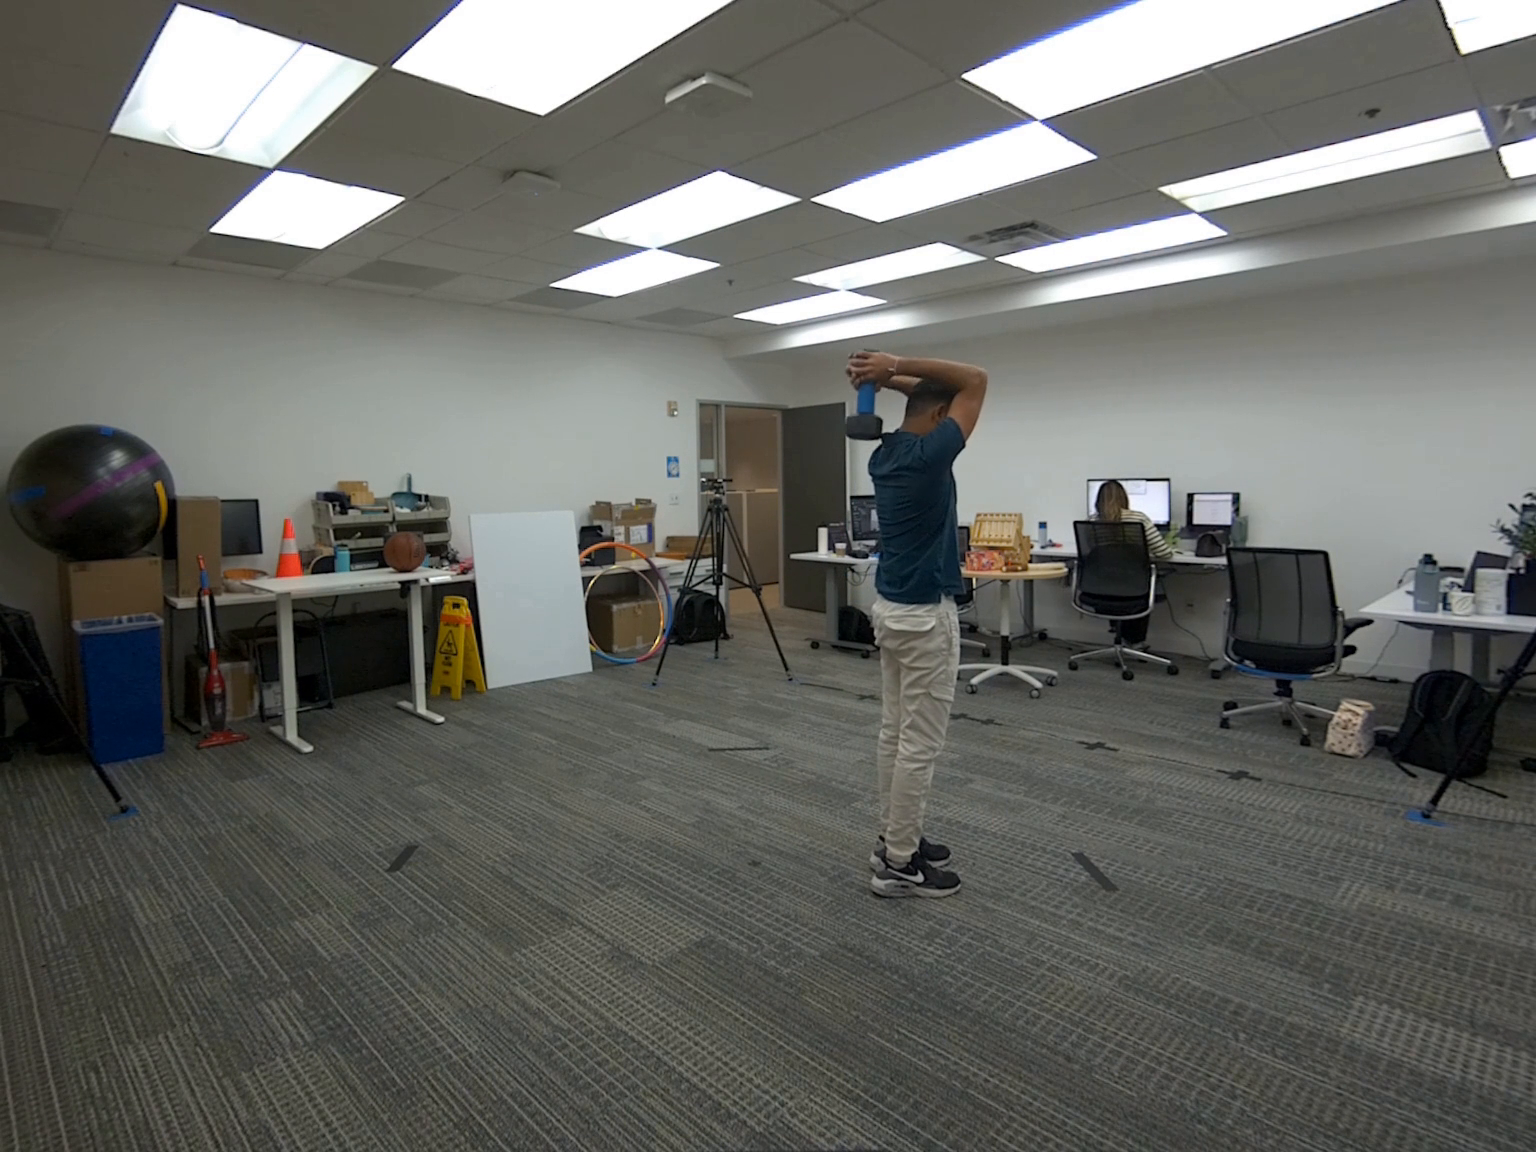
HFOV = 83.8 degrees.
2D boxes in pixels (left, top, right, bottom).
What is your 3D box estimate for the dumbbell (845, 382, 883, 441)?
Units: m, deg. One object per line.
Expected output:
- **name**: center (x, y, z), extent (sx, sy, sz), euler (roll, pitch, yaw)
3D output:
- **dumbbell**: center (0.352, -0.603, 2.850), extent (0.123, 0.293, 0.109), euler (8, 2, 0)
